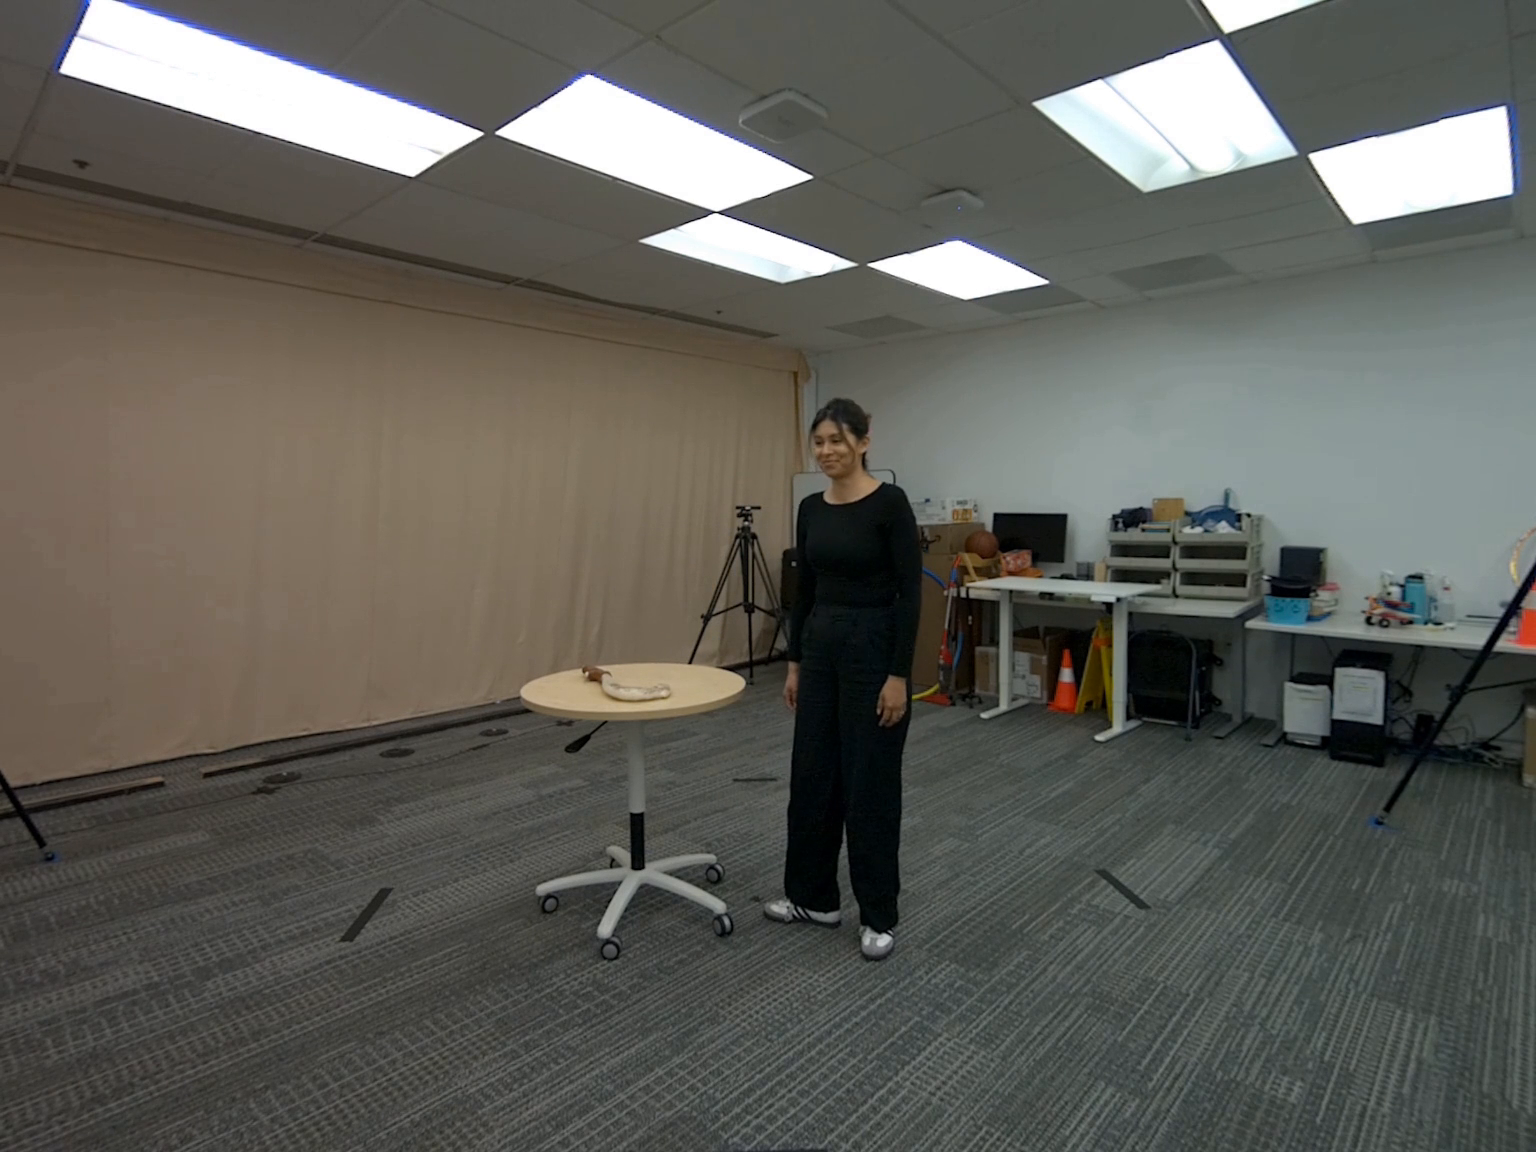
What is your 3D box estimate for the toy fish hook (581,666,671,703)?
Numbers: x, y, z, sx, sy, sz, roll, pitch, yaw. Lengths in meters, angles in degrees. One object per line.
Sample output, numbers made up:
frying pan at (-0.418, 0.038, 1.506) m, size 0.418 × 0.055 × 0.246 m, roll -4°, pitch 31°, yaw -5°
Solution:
toy fish hook at (-0.492, 0.367, 2.855) m, size 0.218 × 0.048 × 0.521 m, roll 7°, pitch 2°, yaw -28°
